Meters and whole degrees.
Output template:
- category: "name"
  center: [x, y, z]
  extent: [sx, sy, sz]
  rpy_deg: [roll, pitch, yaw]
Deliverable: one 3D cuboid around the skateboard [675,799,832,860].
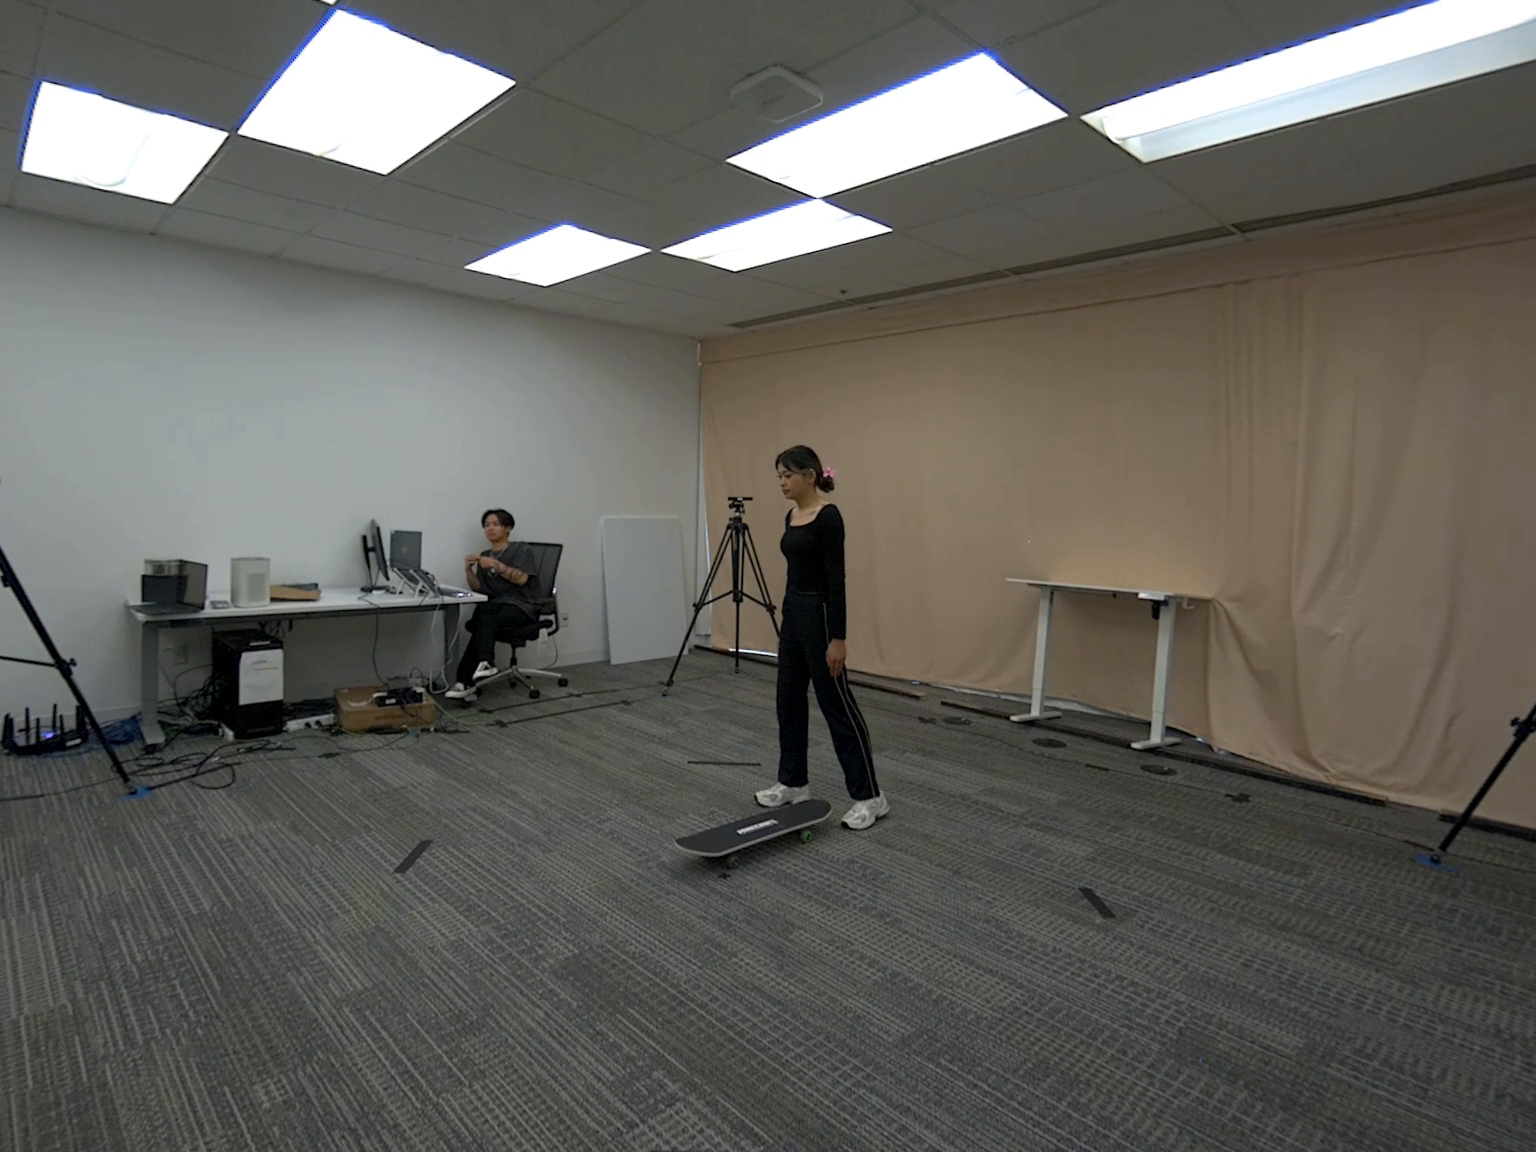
- category: "skateboard"
  center: [-0.046, 1.035, 3.355]
  extent: [0.767, 0.110, 0.198]
  rpy_deg: [-3, 6, -42]
